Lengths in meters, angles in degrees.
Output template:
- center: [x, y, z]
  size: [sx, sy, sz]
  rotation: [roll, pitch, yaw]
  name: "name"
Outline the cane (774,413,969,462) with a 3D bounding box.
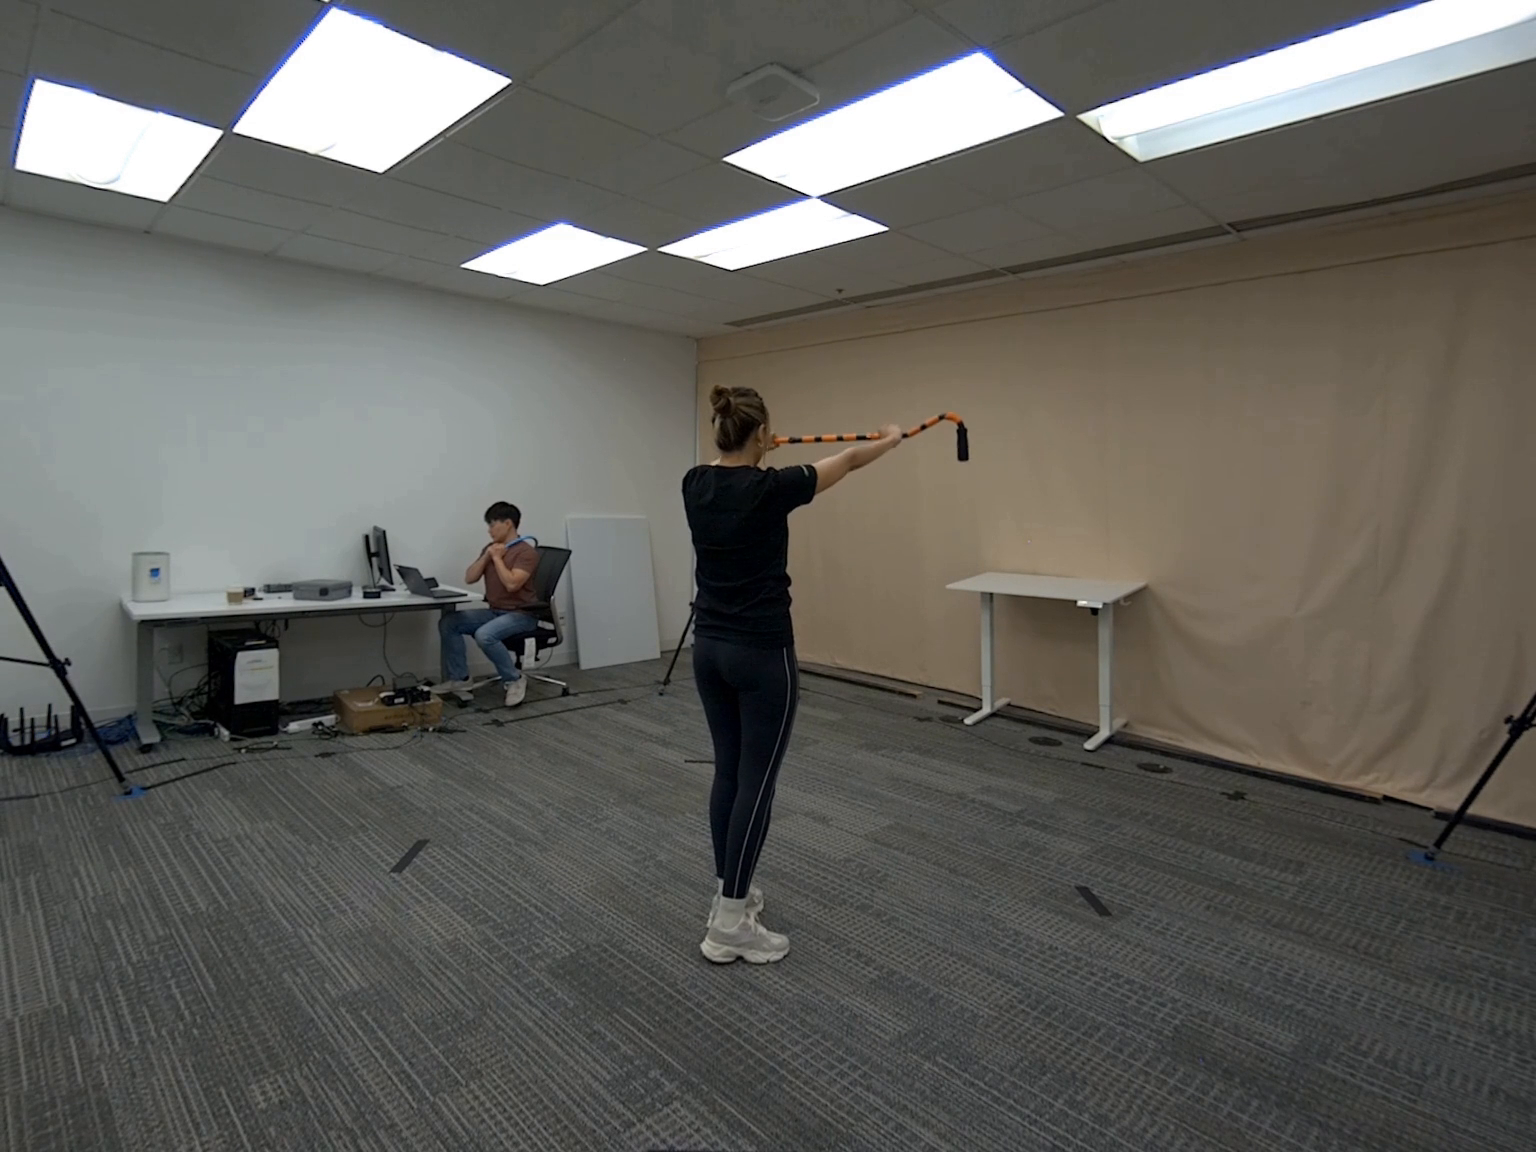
- center: [0.272, -0.499, 3.053]
  size: [0.929, 0.205, 0.149]
  rotation: [4, 13, 34]
  name: "cane"
